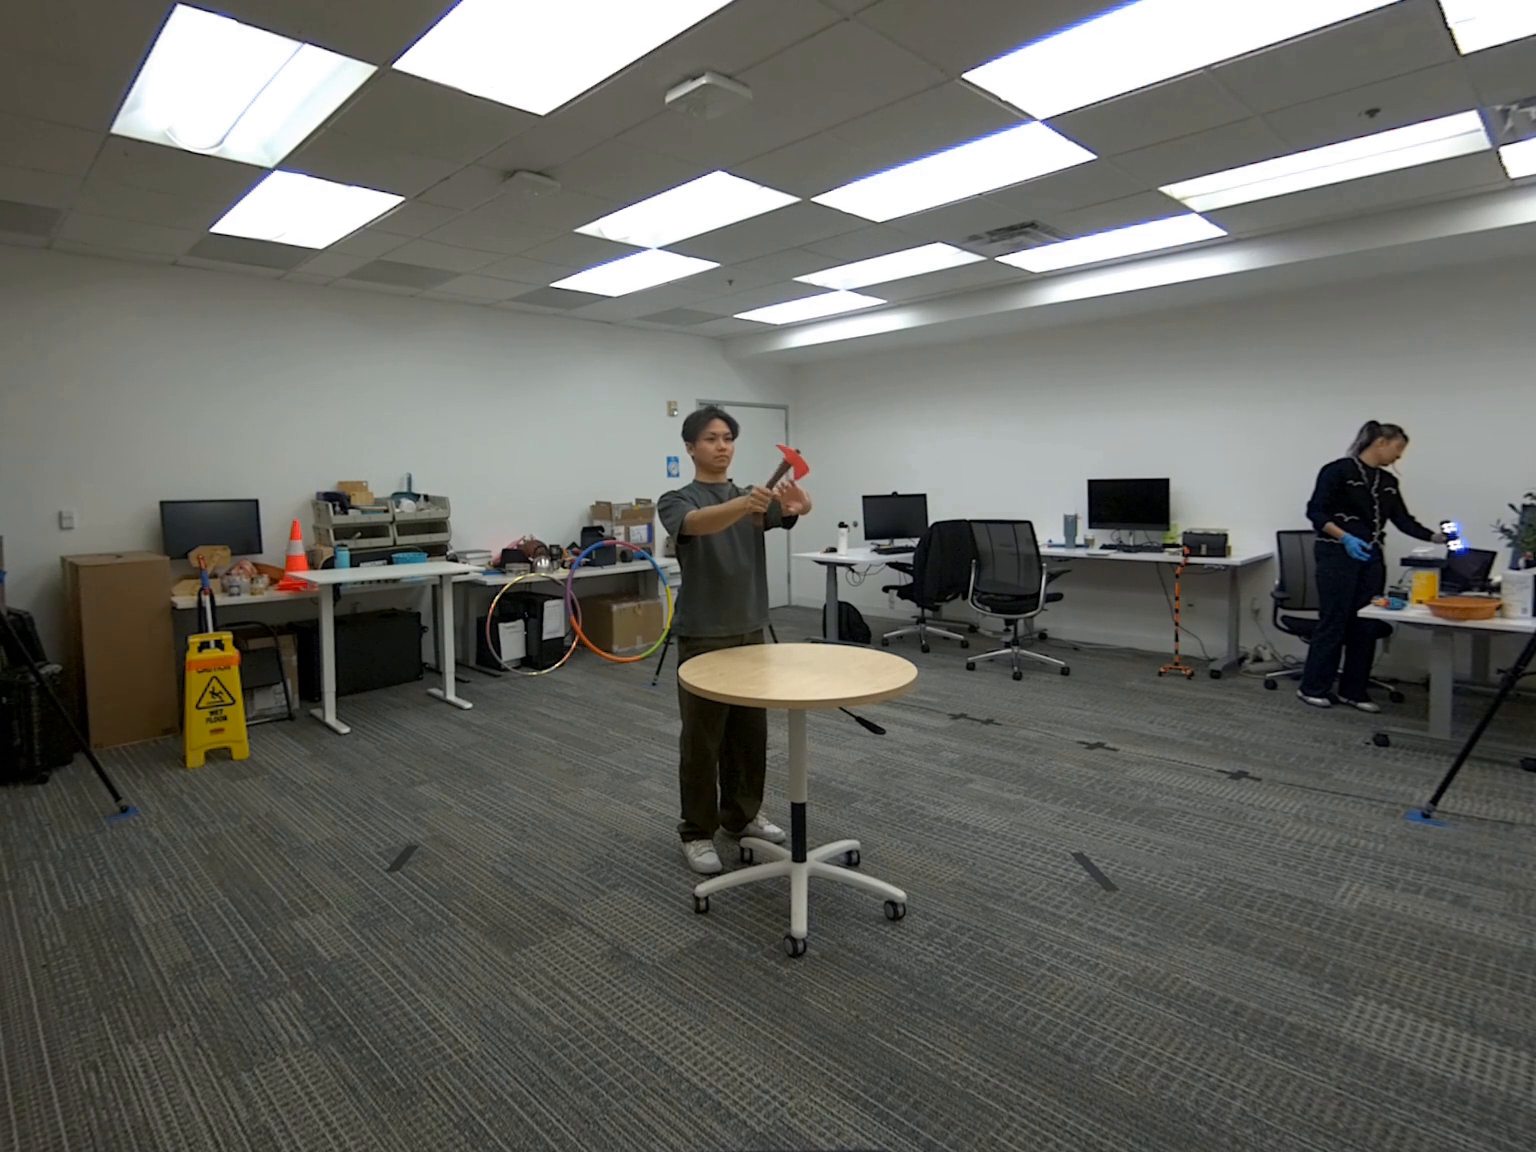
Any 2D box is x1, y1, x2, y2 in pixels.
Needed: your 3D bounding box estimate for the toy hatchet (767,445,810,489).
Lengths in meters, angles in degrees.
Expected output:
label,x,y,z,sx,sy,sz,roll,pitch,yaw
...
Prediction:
label,x,y,z,sx,sy,sz,roll,pitch,yaw
toy hatchet,0.029,-0.274,2.690,0.129,0.270,0.030,18,2,-11
